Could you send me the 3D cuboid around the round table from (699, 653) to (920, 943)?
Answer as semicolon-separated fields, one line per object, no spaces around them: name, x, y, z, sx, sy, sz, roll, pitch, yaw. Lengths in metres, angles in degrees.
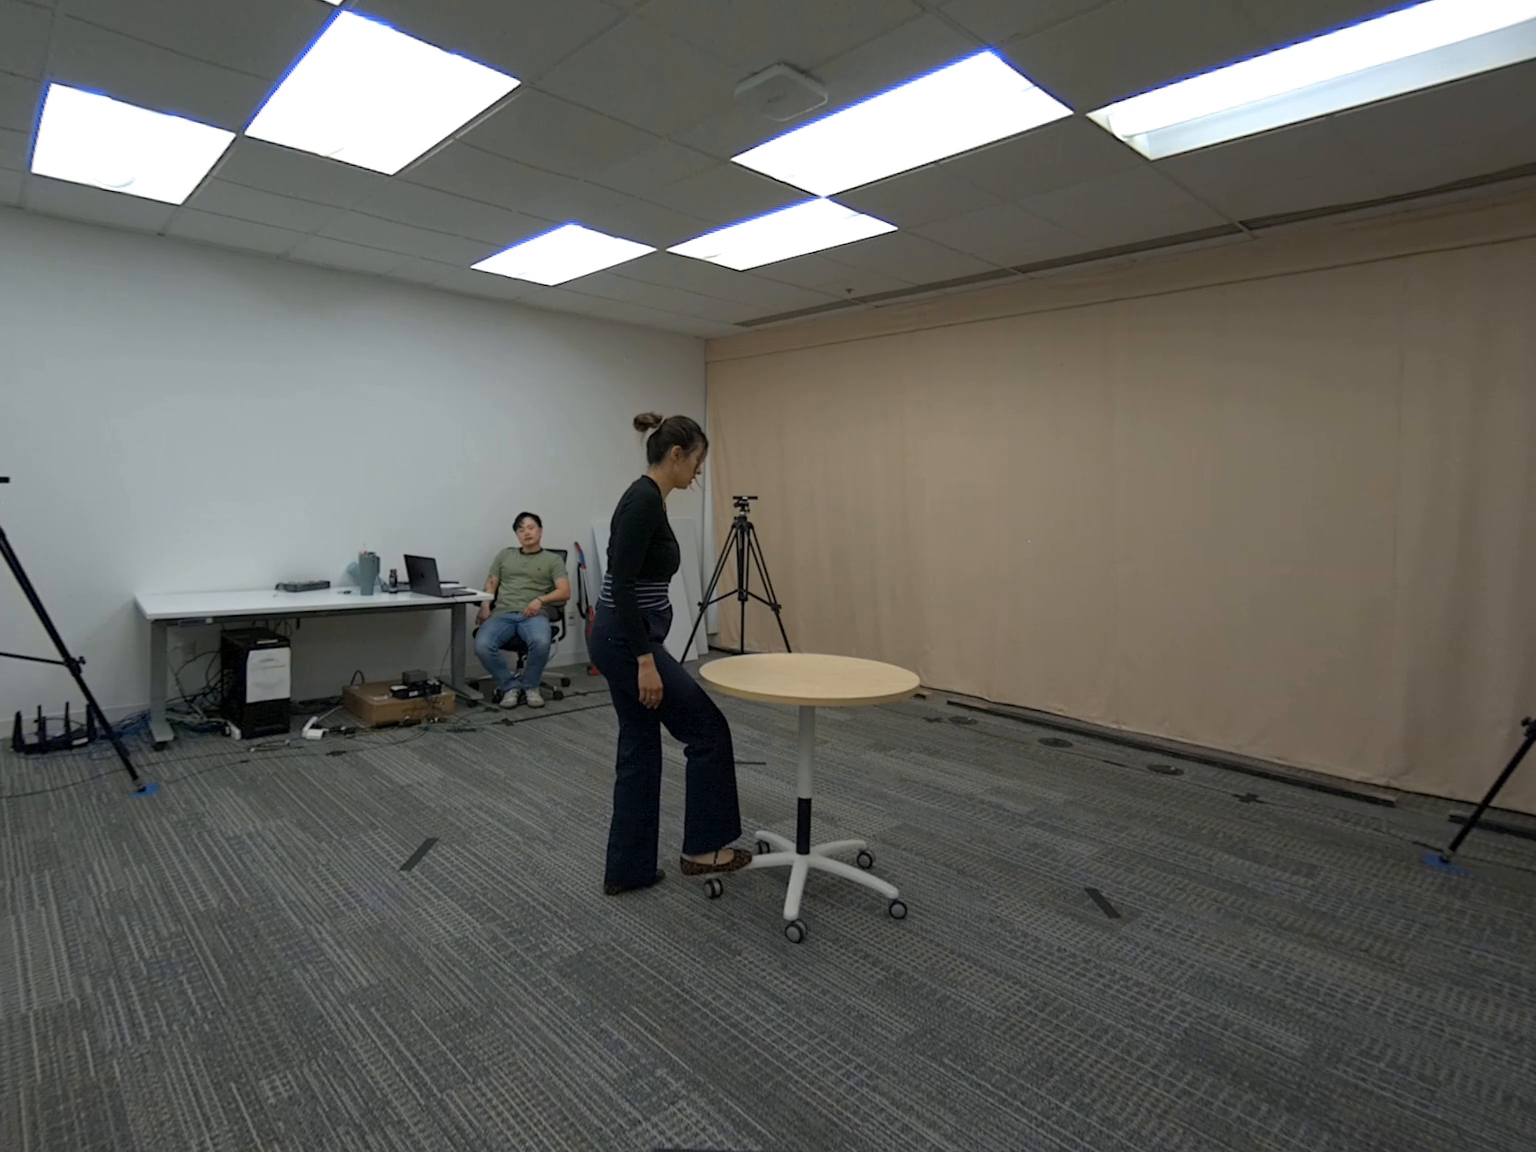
round table;0.131;0.733;2.966;0.763;0.792;0.766;1;4;-1
